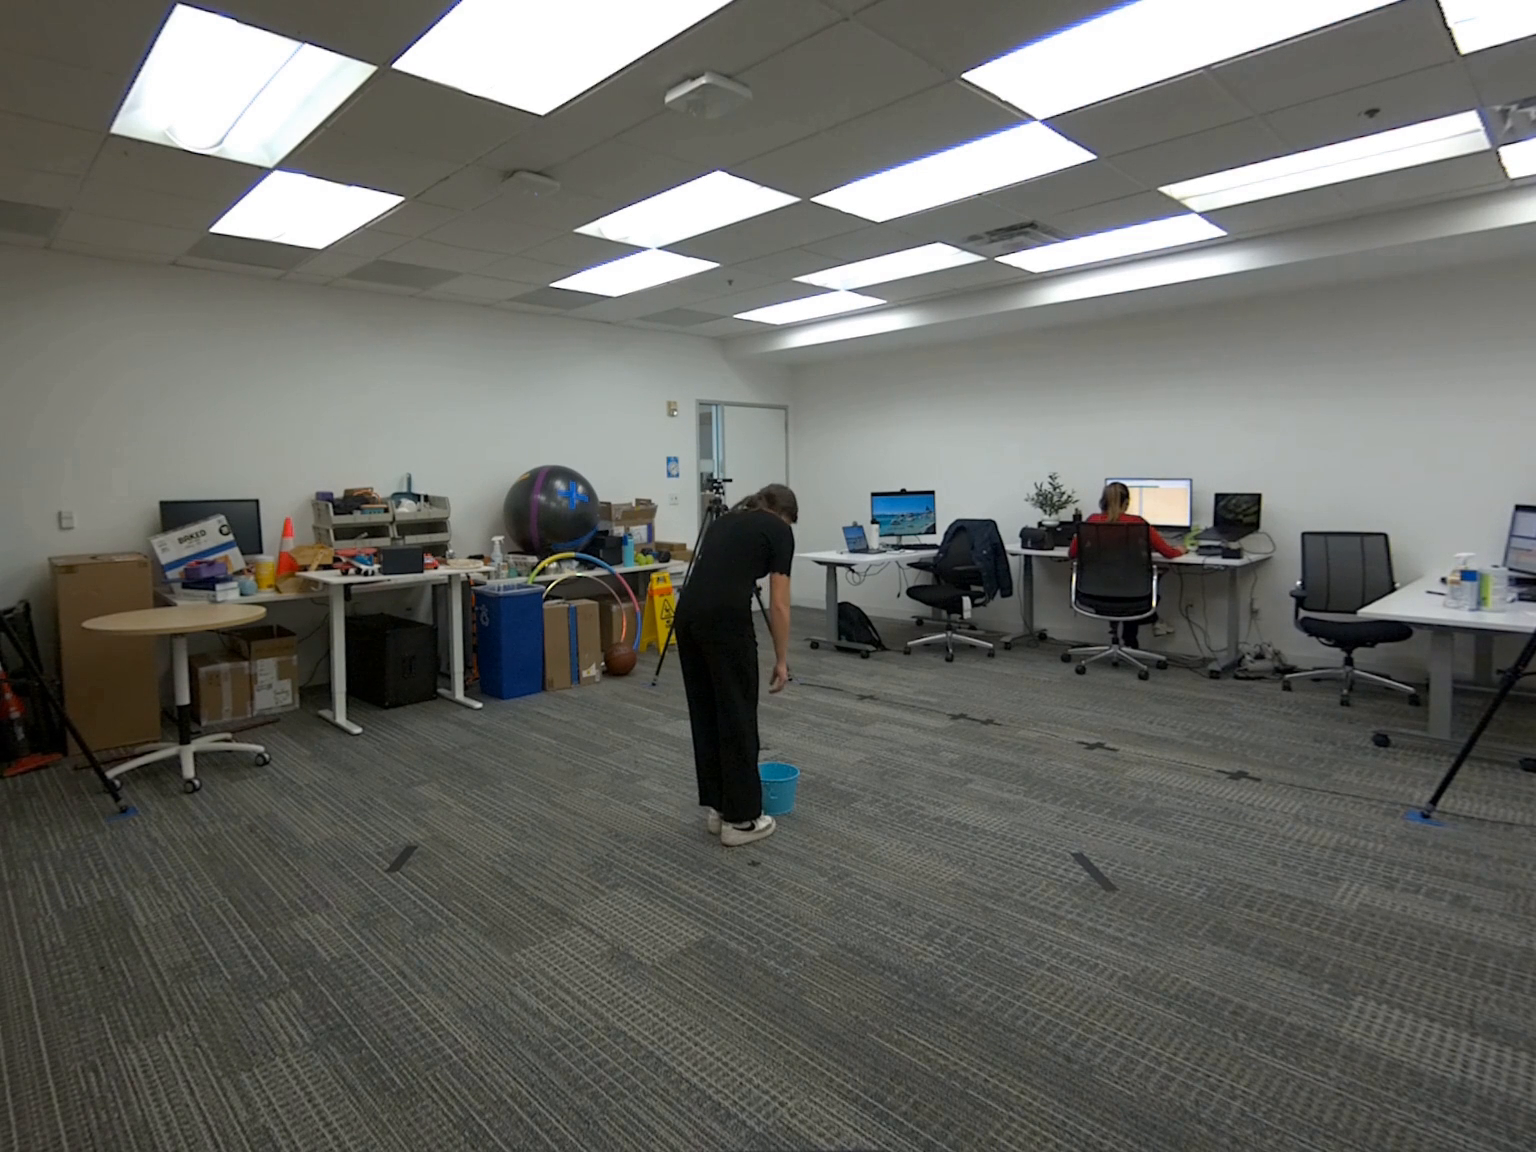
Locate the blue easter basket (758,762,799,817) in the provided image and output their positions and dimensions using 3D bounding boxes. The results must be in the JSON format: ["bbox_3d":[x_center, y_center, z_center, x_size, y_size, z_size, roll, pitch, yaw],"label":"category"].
[{"bbox_3d":[0.016,0.903,3.647,0.243,0.155,0.245,-1,5,-2],"label":"blue easter basket"}]
